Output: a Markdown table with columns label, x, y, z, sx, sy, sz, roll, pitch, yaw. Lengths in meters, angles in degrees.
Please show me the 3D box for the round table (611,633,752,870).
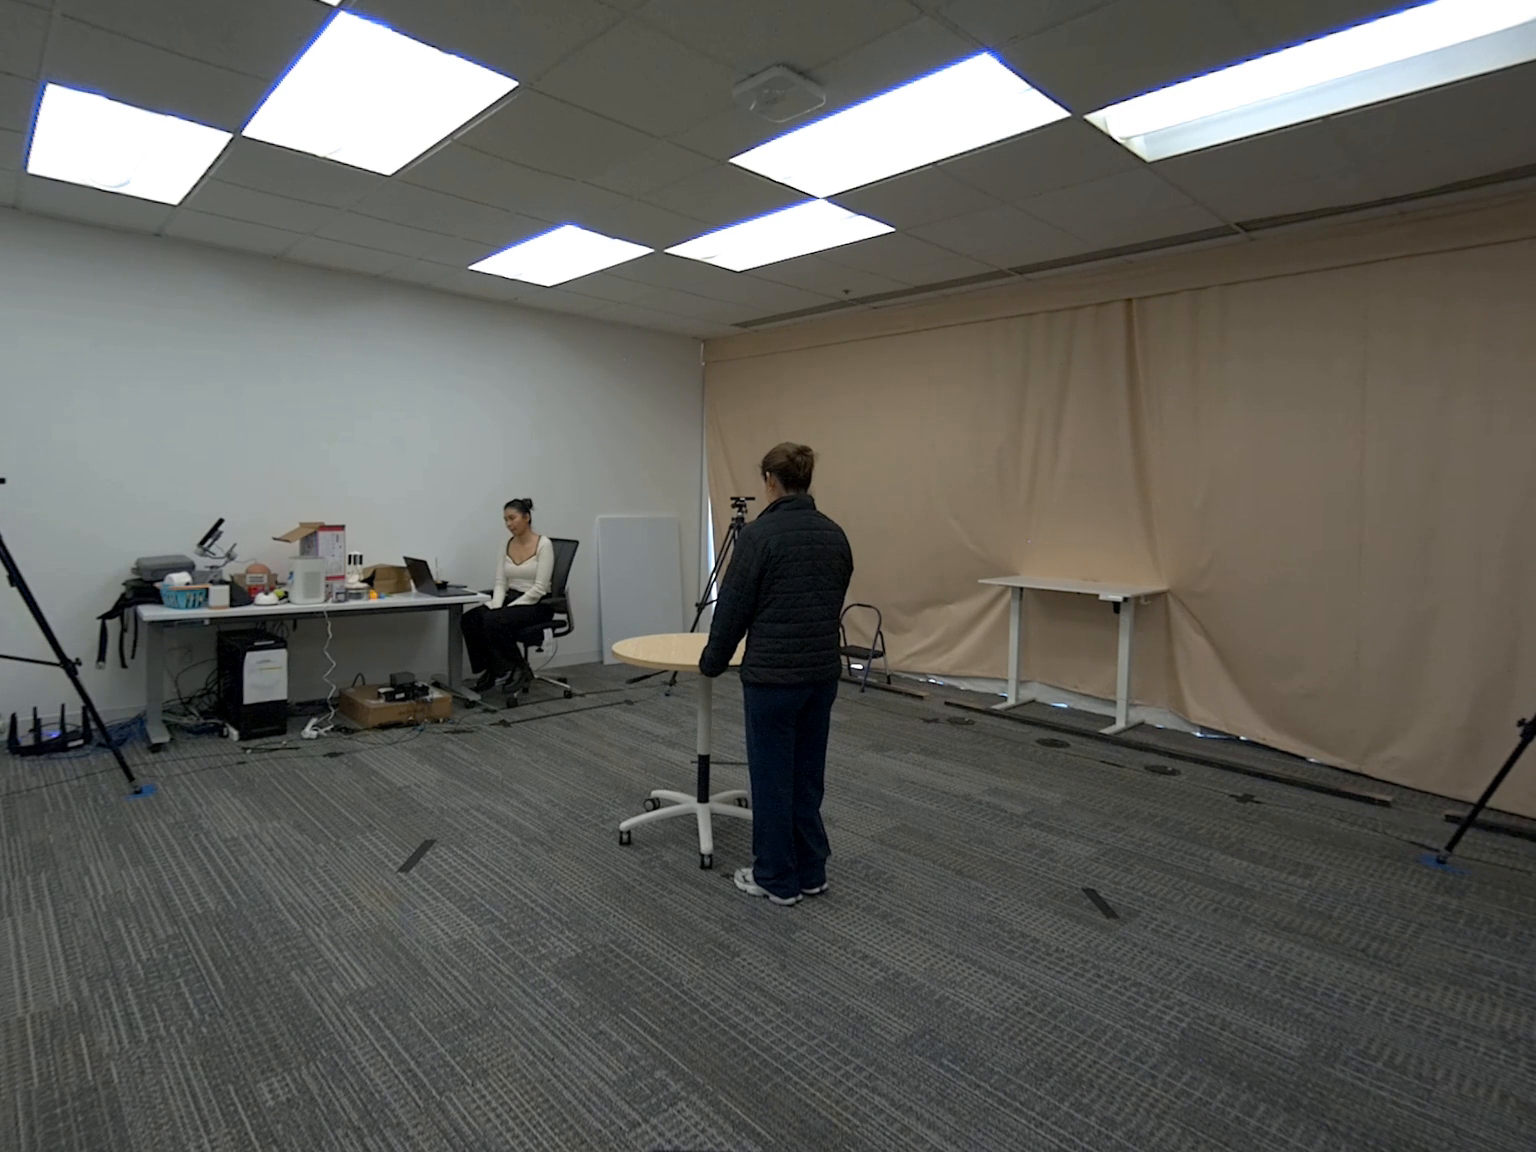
| label | x | y | z | sx | sy | sz | roll | pitch | yaw |
| --- | --- | --- | --- | --- | --- | --- | --- | --- | --- |
| round table | -0.271 | 0.682 | 3.438 | 0.784 | 0.785 | 0.787 | 1 | 4 | -1 |
